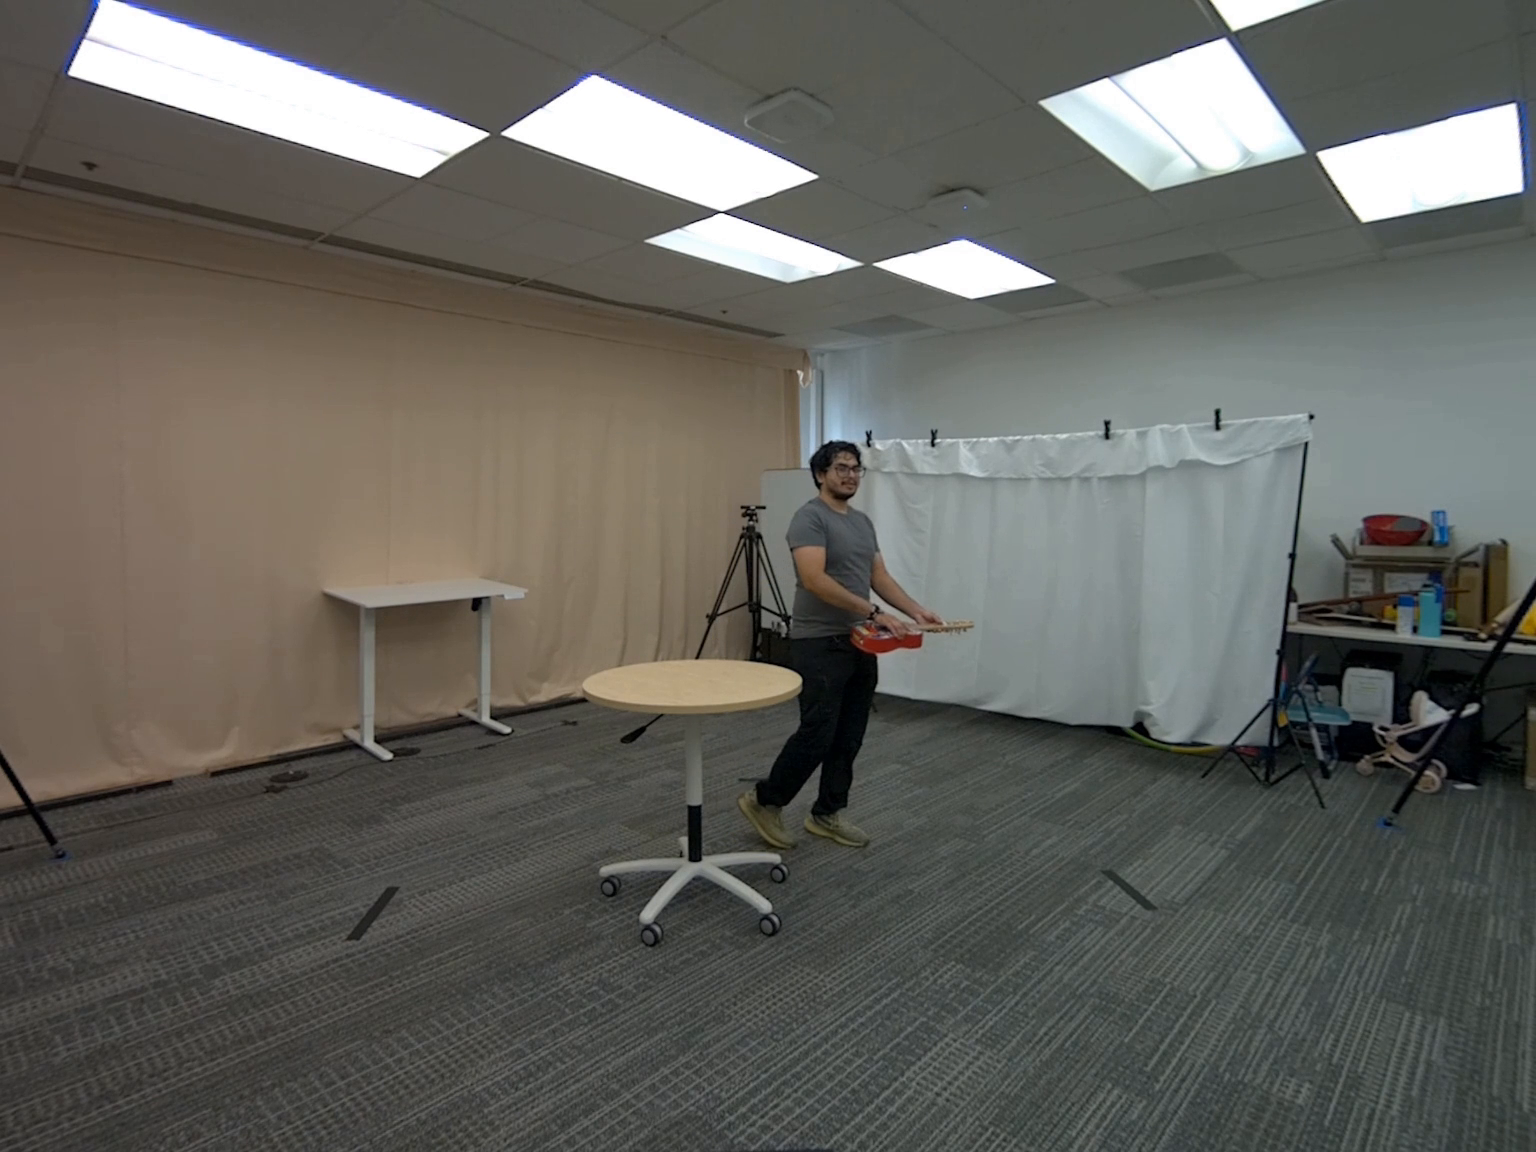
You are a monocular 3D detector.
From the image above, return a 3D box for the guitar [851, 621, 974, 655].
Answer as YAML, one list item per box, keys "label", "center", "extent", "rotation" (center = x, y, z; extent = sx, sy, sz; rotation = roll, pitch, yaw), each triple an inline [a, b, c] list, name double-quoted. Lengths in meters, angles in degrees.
- label: "guitar"
  center: [0.587, 0.233, 3.226]
  extent: [0.497, 0.070, 0.195]
  rotation: [2, 16, -2]
